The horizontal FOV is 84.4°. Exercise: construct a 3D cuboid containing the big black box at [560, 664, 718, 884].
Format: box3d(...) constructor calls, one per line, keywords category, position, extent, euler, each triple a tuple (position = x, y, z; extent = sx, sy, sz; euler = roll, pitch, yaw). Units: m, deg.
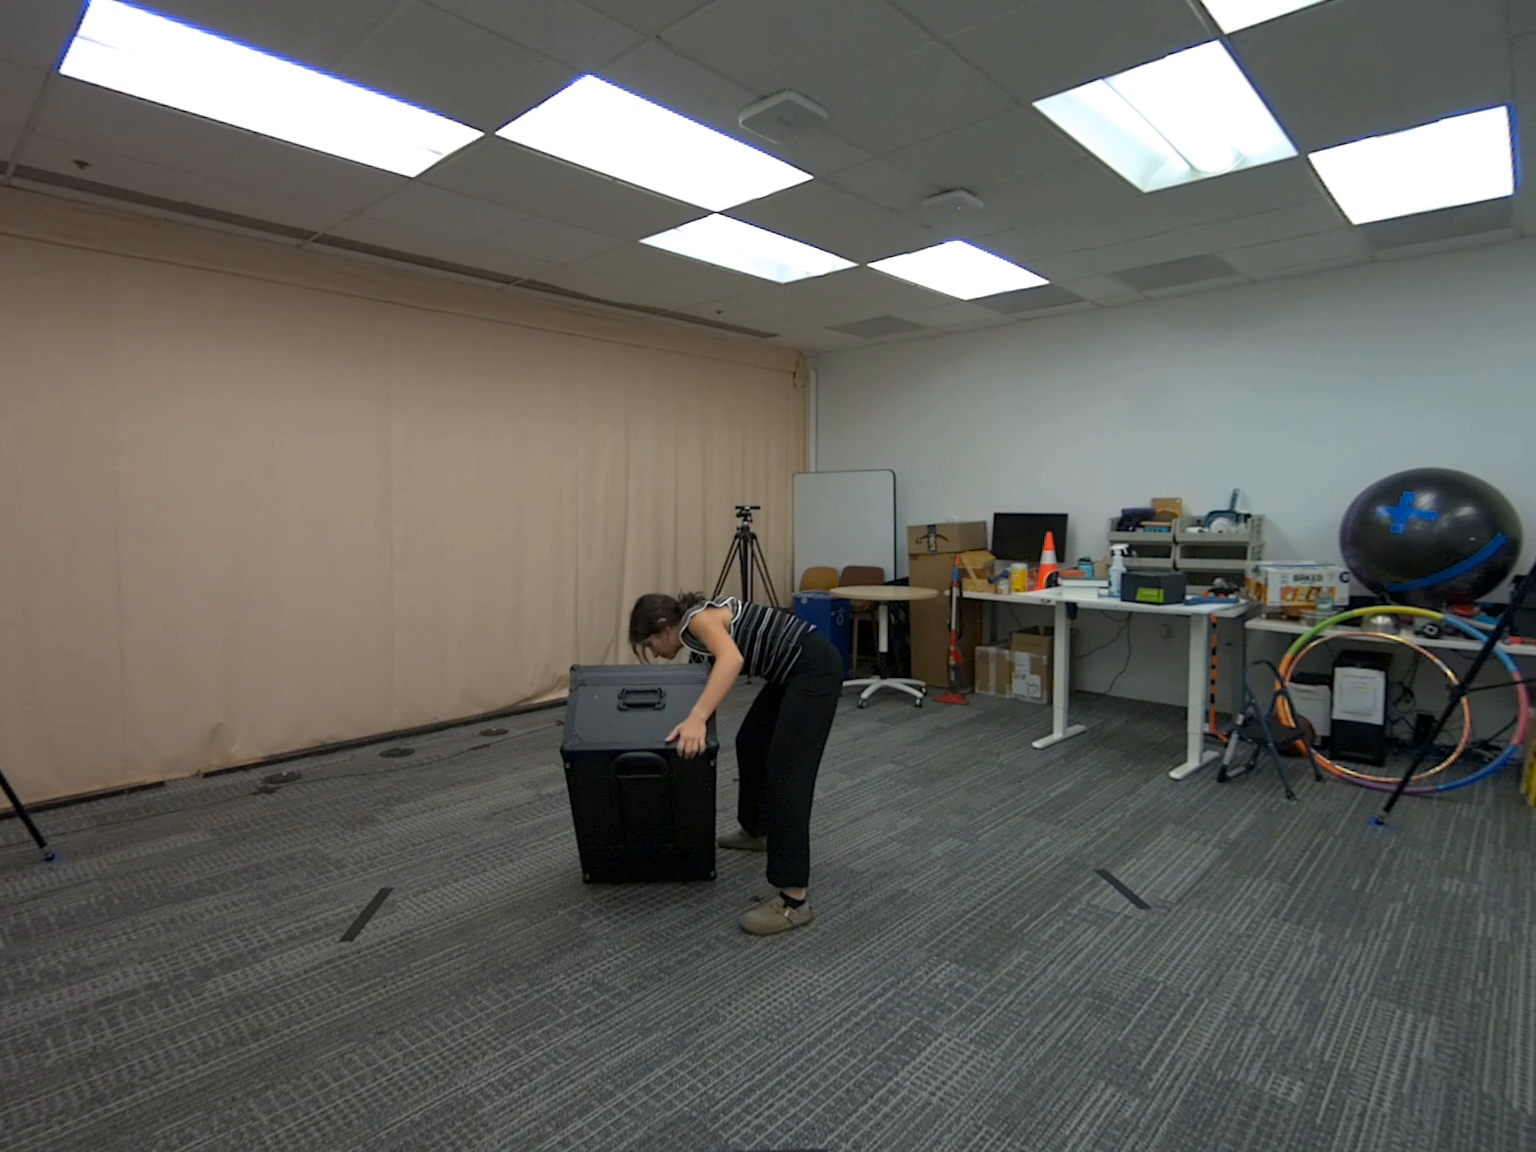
box3d(category="big black box", position=(-0.424, 0.734, 2.982), extent=(0.522, 0.846, 0.403), euler=(2, 40, 0))
